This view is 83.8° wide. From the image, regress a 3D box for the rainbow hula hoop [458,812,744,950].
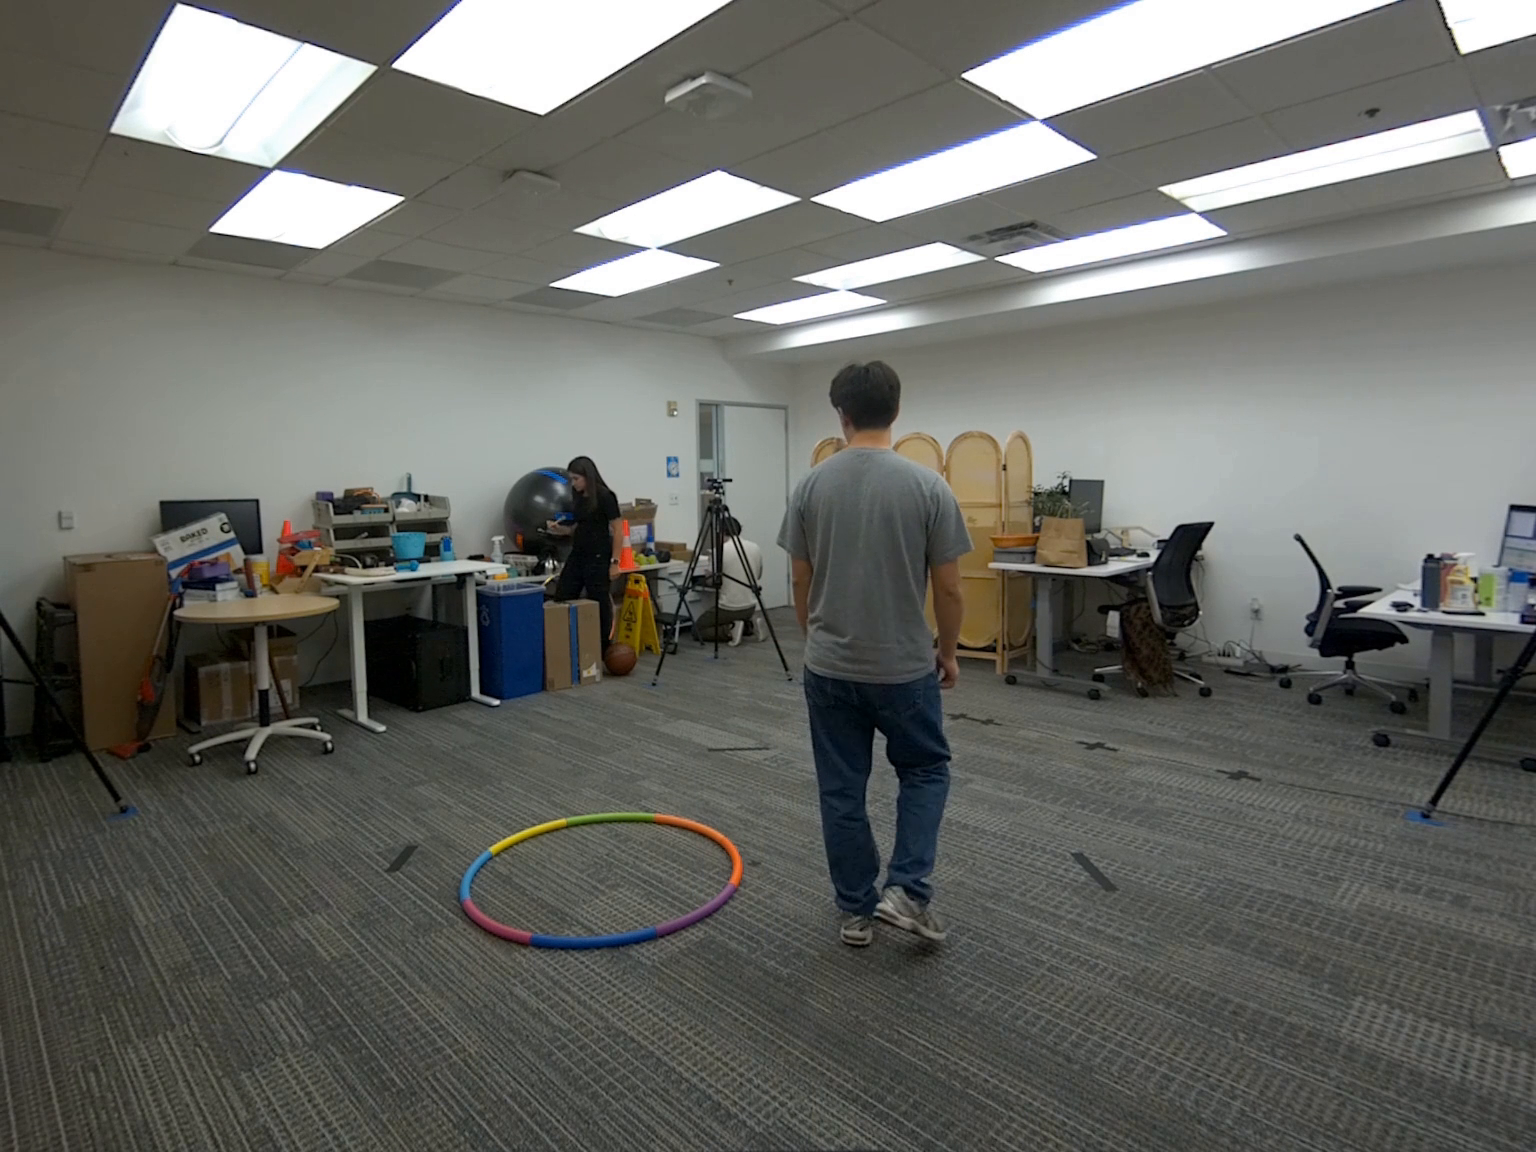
[{"bbox_3d":[-0.577,1.030,3.039,0.978,0.035,0.984,-1,7,-2],"label":"rainbow hula hoop"}]
